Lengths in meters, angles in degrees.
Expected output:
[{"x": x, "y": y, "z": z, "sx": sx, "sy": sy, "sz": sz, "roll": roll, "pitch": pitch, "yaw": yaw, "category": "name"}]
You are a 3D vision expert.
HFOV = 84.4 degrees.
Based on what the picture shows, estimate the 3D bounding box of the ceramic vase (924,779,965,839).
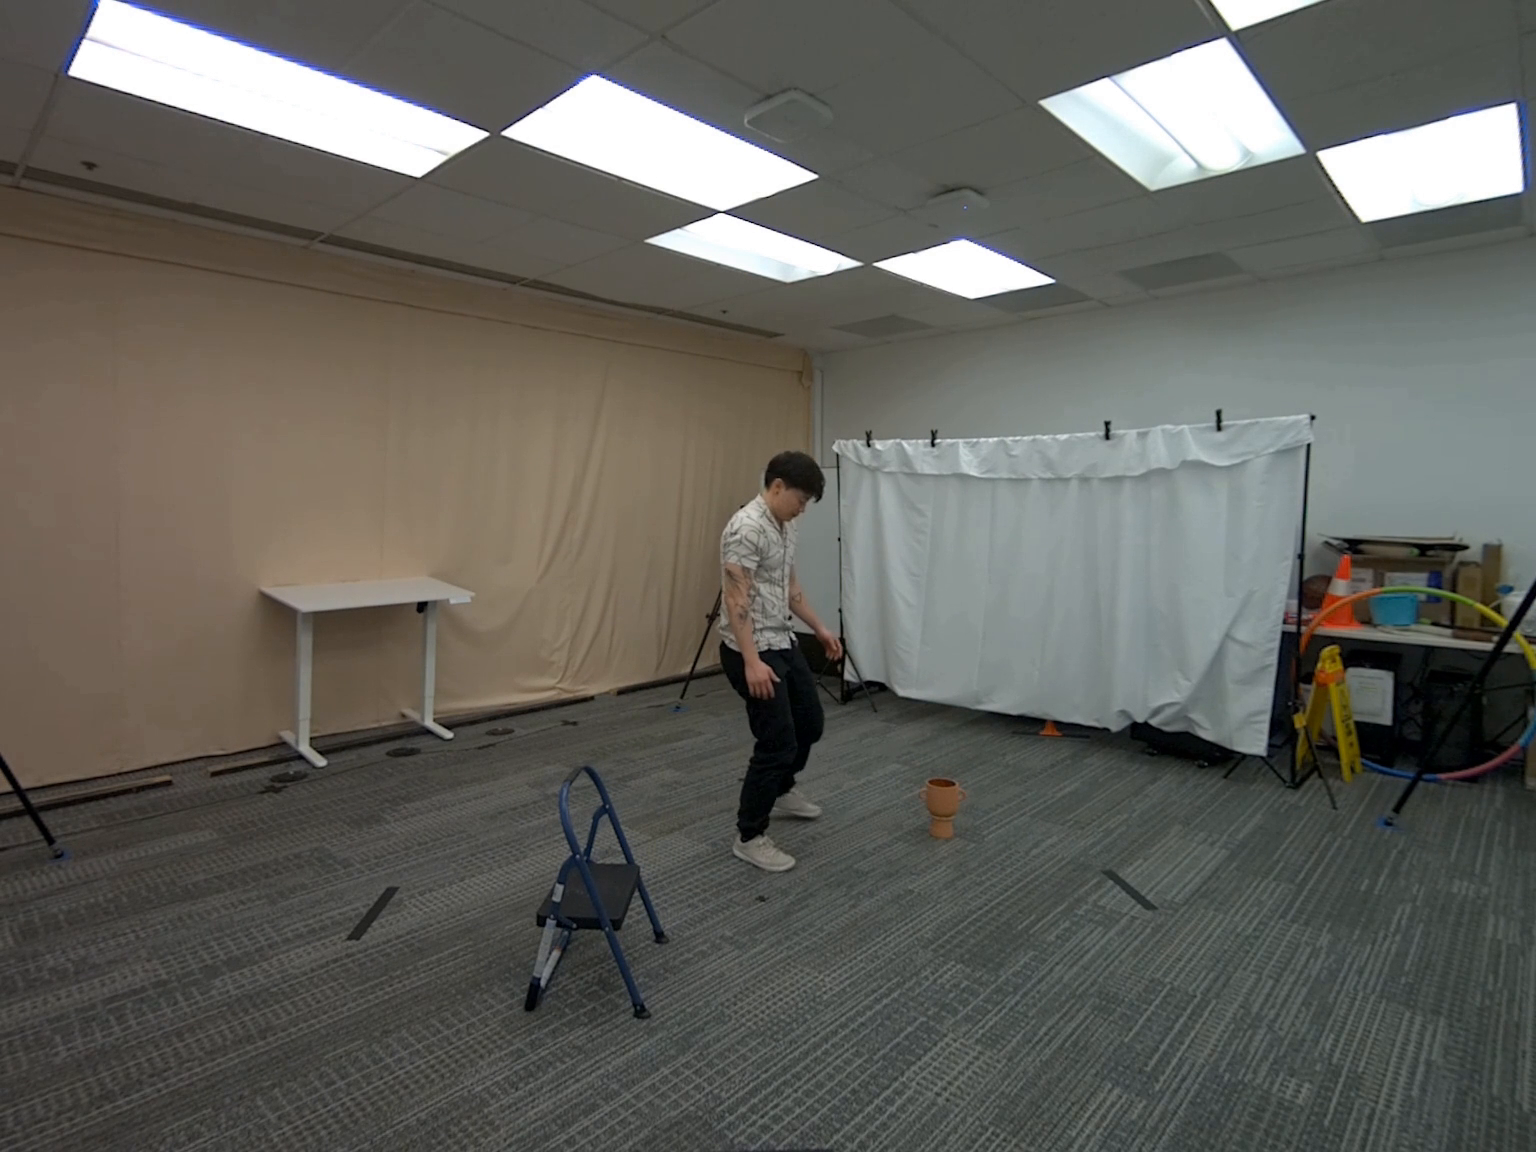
[{"x": 0.743, "y": 0.986, "z": 3.557, "sx": 0.164, "sy": 0.219, "sz": 0.131, "roll": 3, "pitch": 5, "yaw": 36, "category": "ceramic vase"}]
